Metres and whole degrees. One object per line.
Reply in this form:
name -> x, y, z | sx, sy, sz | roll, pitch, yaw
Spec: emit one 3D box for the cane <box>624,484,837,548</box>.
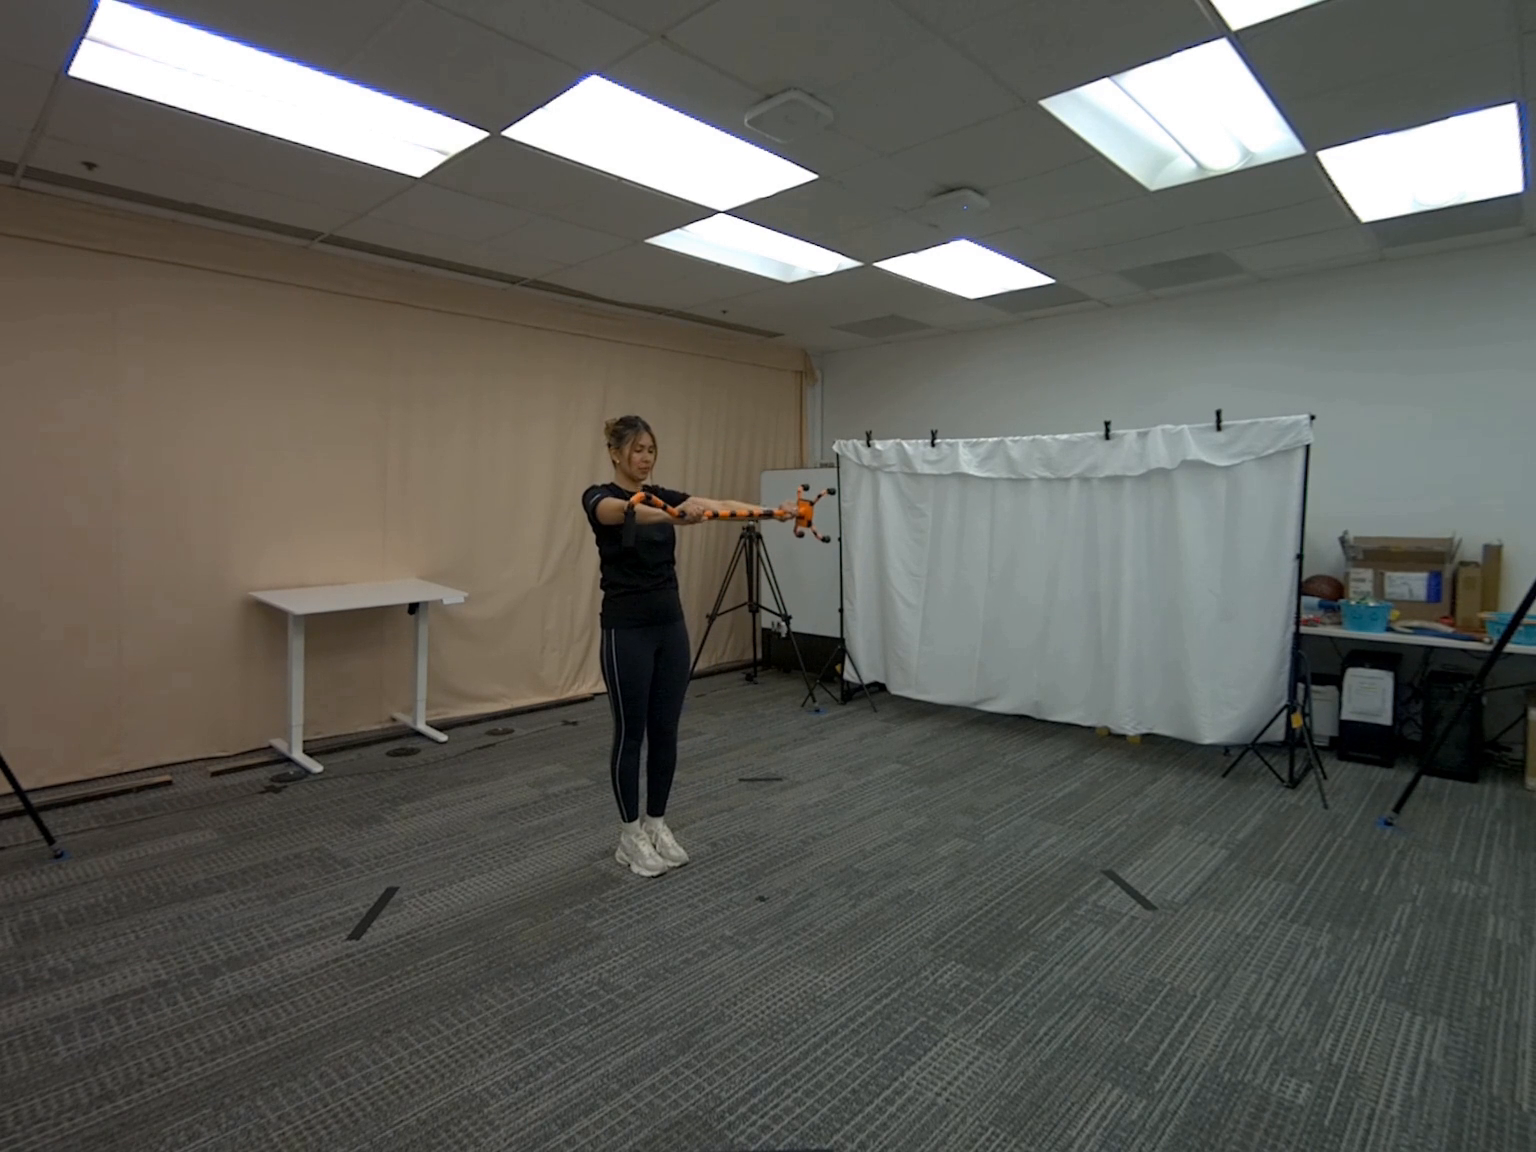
cane -> -0.108, -0.210, 2.786 | 0.157, 0.205, 0.880 | 16, 14, 41
